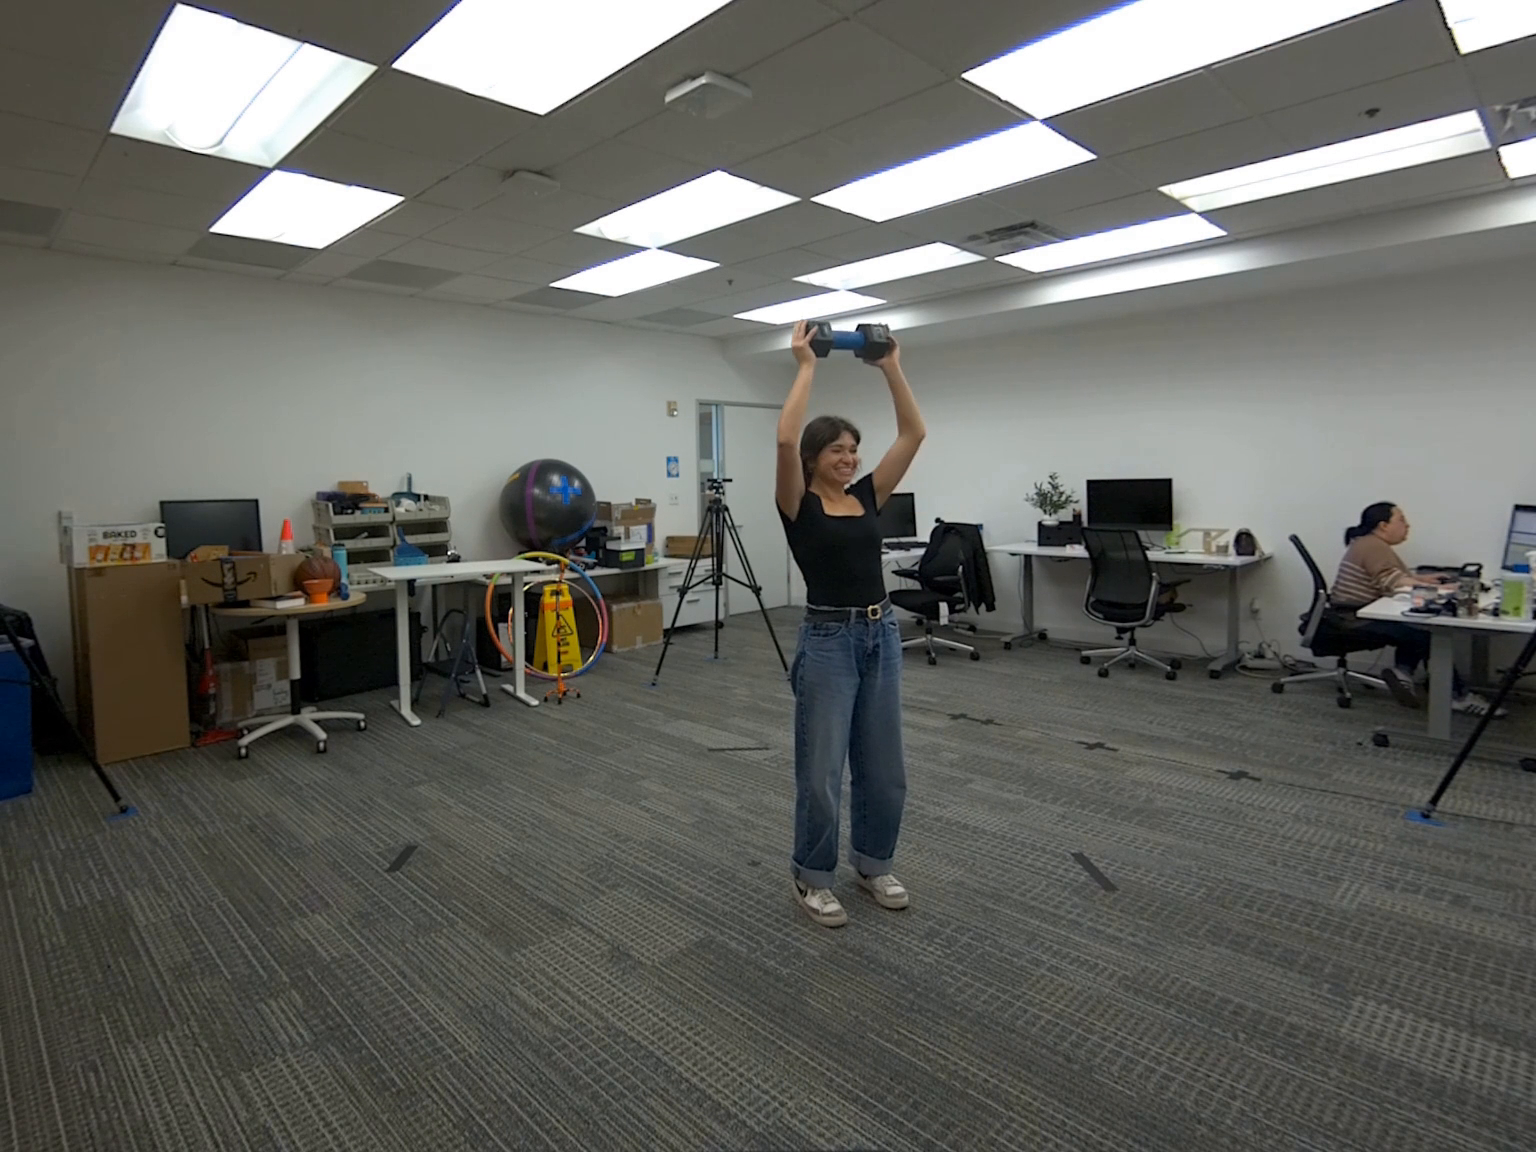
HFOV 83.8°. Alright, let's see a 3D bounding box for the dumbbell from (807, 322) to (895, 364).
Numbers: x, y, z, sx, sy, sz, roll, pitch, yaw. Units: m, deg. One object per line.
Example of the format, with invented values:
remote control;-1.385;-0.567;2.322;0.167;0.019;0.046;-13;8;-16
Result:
dumbbell;0.241;-0.726;2.641;0.287;0.121;0.113;-7;47;-29
